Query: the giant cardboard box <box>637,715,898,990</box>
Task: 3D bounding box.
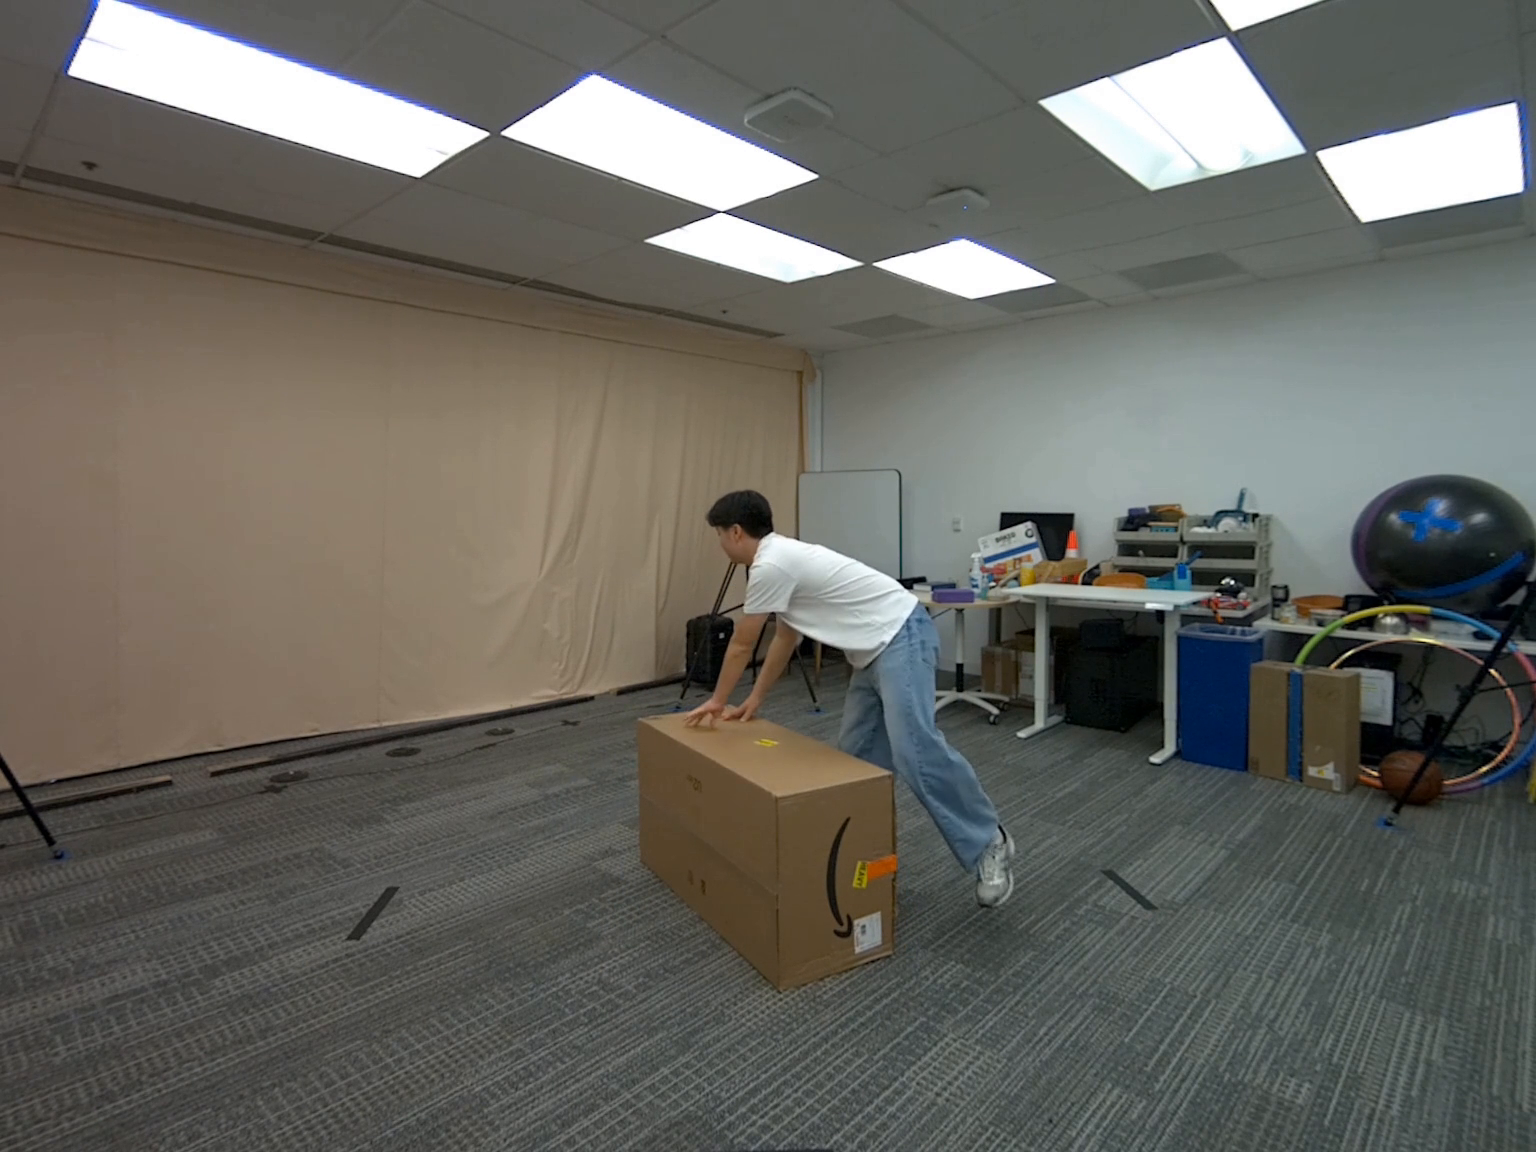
[{"bbox_3d":[-0.057,0.862,2.938,0.415,0.576,1.055,-3,5,-30],"label":"giant cardboard box"}]
